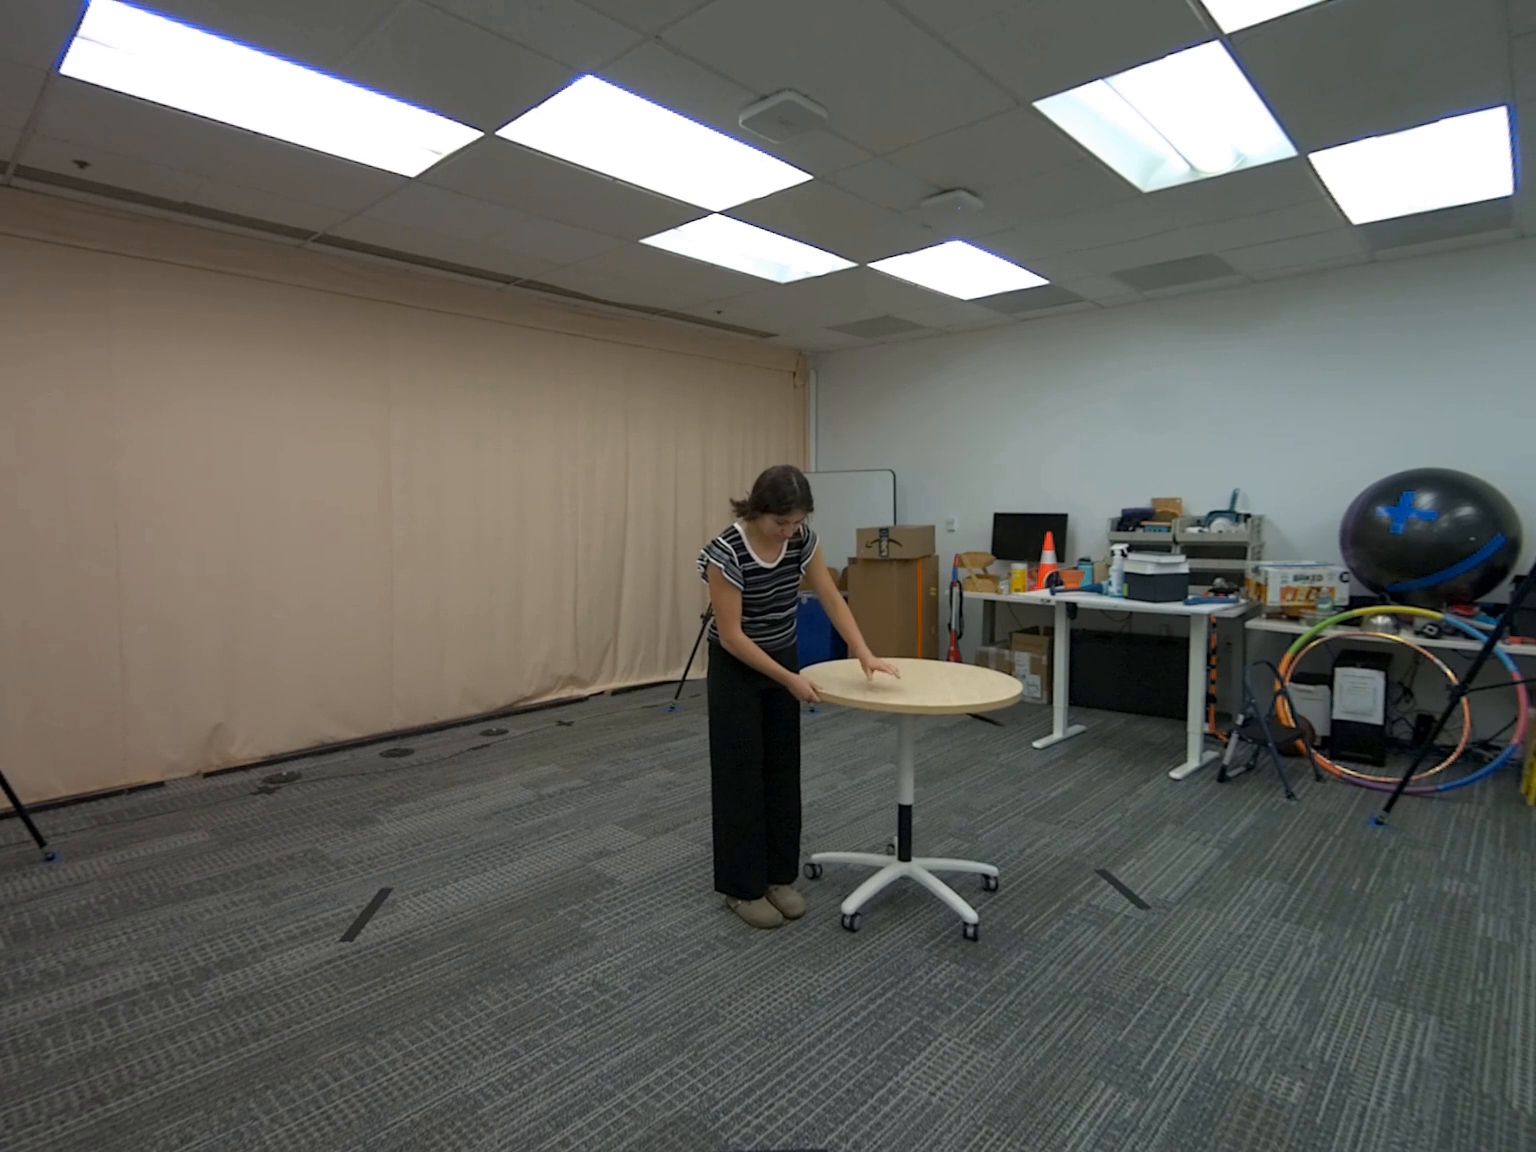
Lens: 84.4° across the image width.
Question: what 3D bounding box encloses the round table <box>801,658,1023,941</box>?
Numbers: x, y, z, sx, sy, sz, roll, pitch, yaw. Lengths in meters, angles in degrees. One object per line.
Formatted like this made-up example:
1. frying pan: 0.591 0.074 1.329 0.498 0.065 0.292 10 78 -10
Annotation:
1. round table: 0.471 0.750 2.955 0.784 0.784 0.788 0 4 -2
